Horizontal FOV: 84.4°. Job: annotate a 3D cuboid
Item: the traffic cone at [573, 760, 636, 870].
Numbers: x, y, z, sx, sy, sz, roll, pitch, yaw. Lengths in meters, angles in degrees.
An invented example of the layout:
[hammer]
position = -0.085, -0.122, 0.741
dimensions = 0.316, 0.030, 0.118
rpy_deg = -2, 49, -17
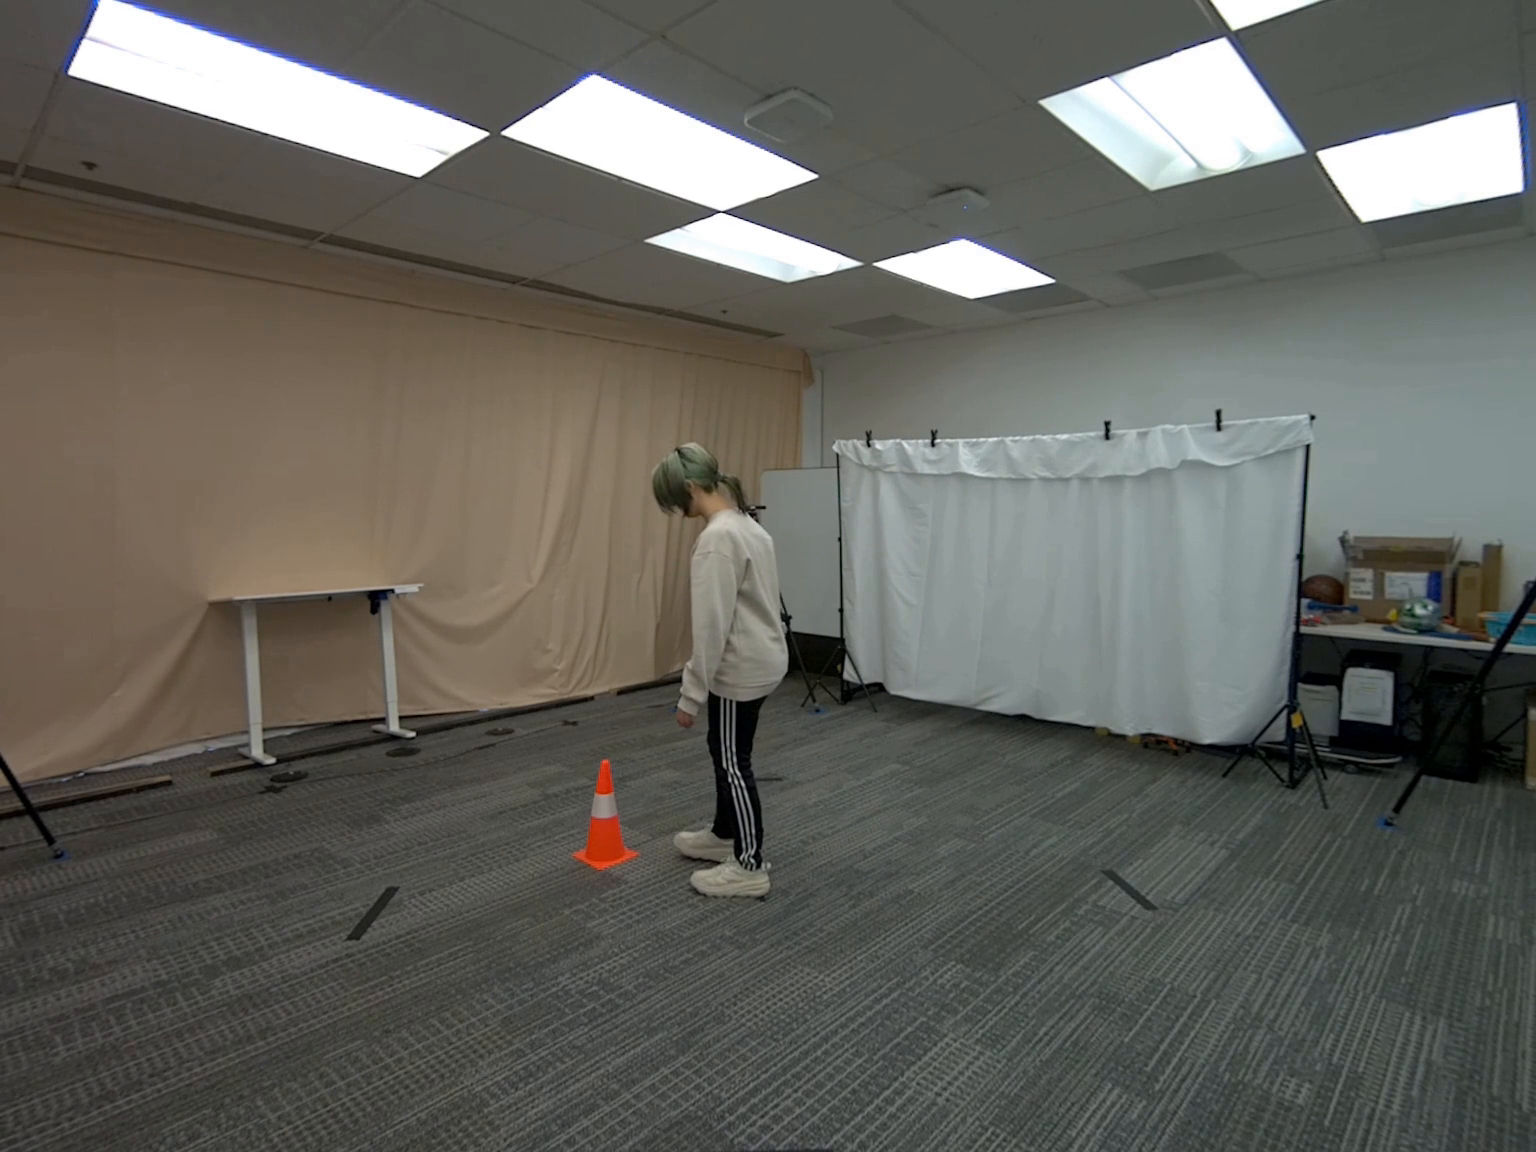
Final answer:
[traffic cone]
position = -0.649, 0.931, 3.367
dimensions = 0.198, 0.383, 0.210
rpy_deg = 0, 3, -42
